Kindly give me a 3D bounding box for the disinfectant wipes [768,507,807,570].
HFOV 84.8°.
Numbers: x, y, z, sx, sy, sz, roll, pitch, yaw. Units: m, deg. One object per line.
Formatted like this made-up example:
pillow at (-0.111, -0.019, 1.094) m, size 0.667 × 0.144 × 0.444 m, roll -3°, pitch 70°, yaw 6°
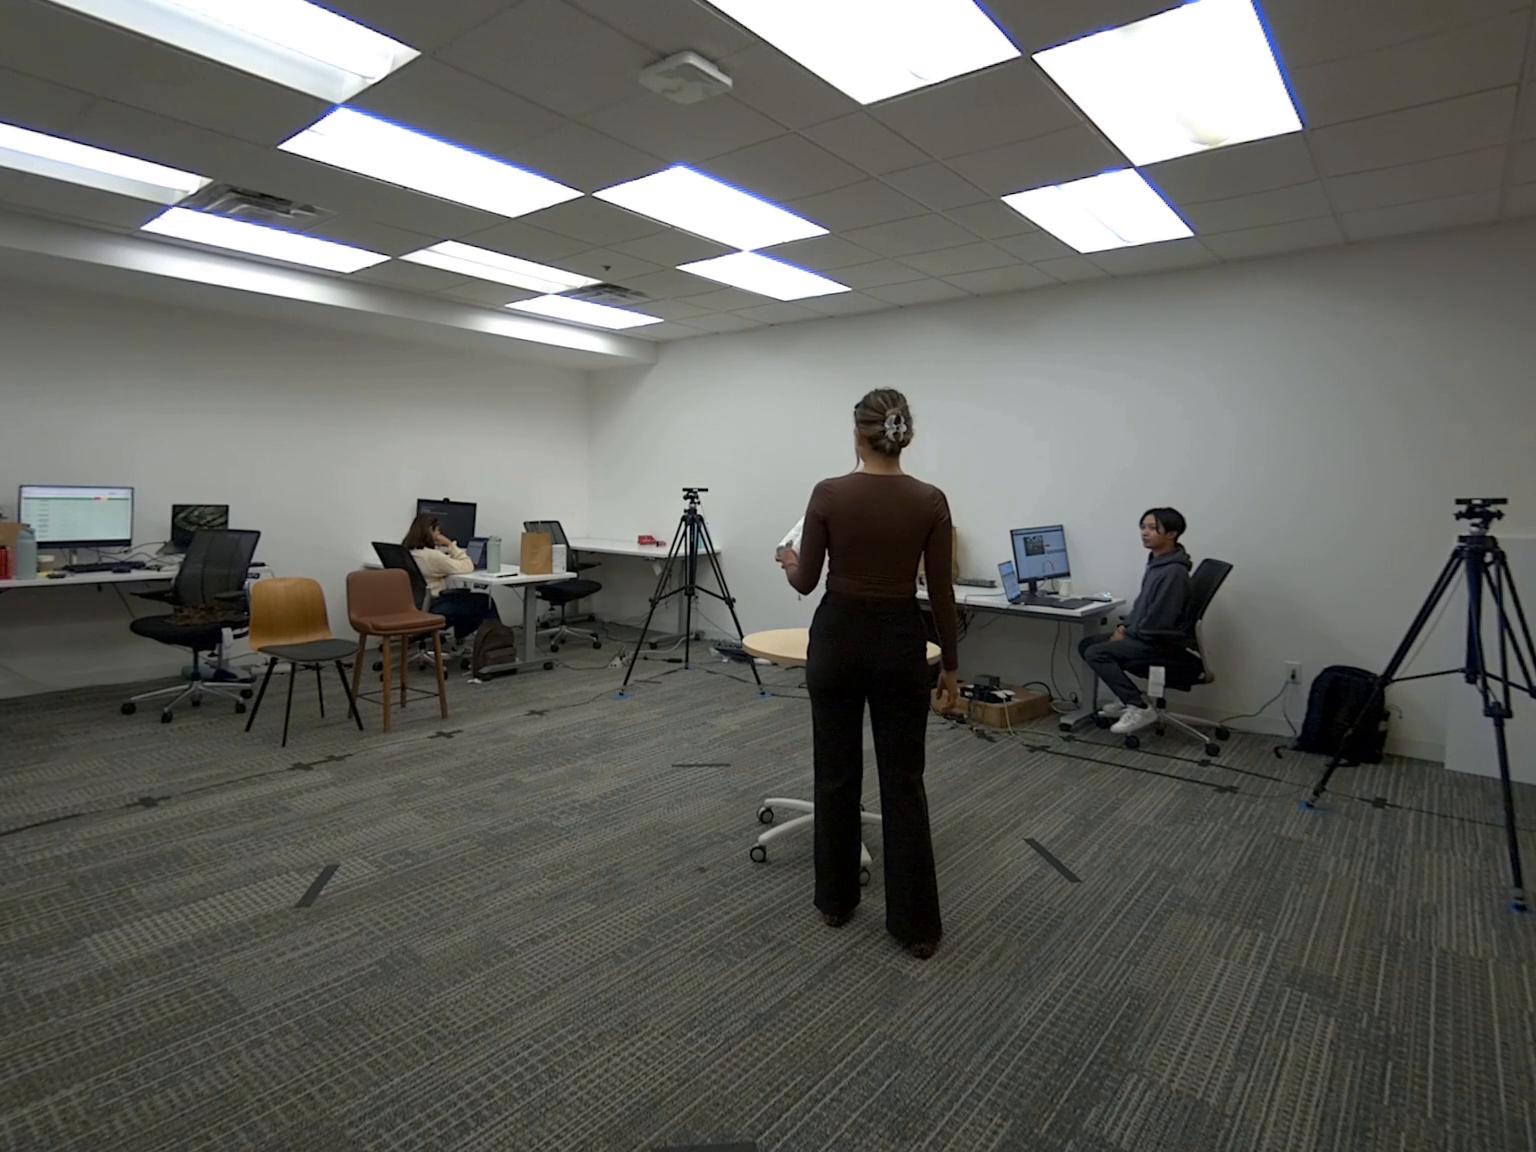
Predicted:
disinfectant wipes at (0.127, -0.138, 3.075) m, size 0.122 × 0.114 × 0.218 m, roll 5°, pitch 46°, yaw 45°
